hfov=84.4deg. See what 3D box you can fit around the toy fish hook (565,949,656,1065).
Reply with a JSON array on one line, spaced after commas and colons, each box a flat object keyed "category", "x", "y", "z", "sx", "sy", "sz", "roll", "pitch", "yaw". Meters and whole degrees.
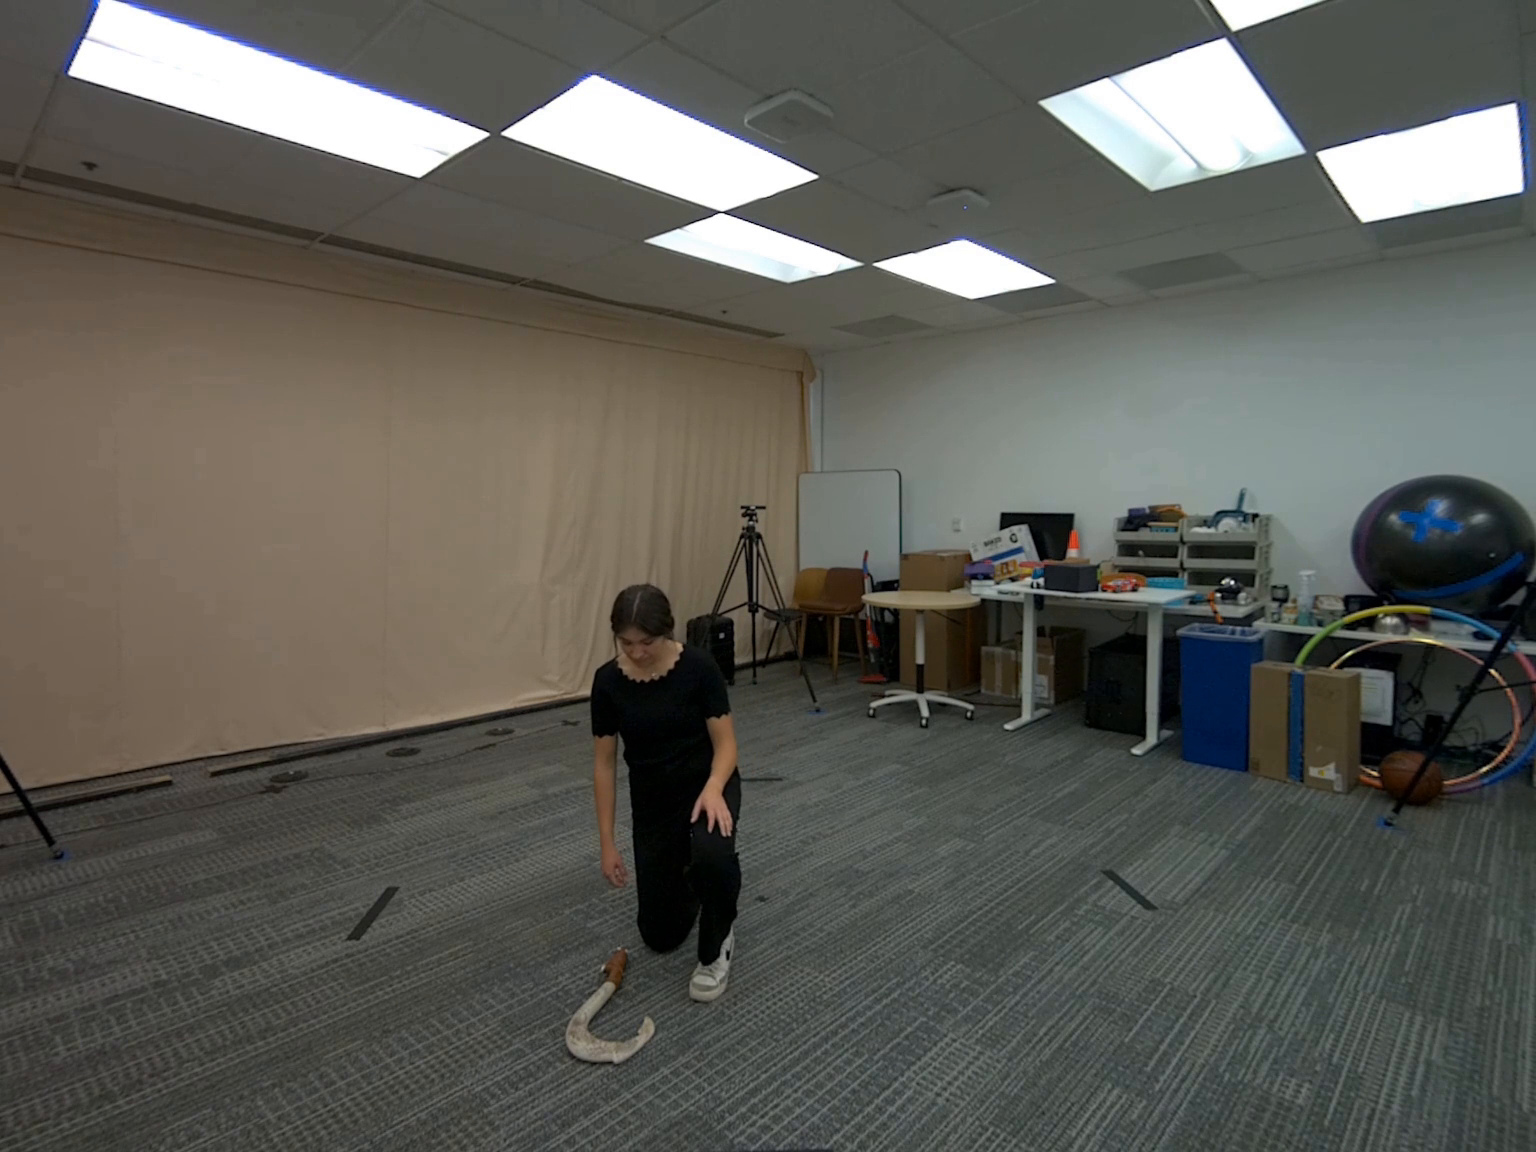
[{"category": "toy fish hook", "x": -0.404, "y": 1.177, "z": 2.346, "sx": 0.225, "sy": 0.048, "sz": 0.506, "roll": 6, "pitch": 5, "yaw": 2}]
